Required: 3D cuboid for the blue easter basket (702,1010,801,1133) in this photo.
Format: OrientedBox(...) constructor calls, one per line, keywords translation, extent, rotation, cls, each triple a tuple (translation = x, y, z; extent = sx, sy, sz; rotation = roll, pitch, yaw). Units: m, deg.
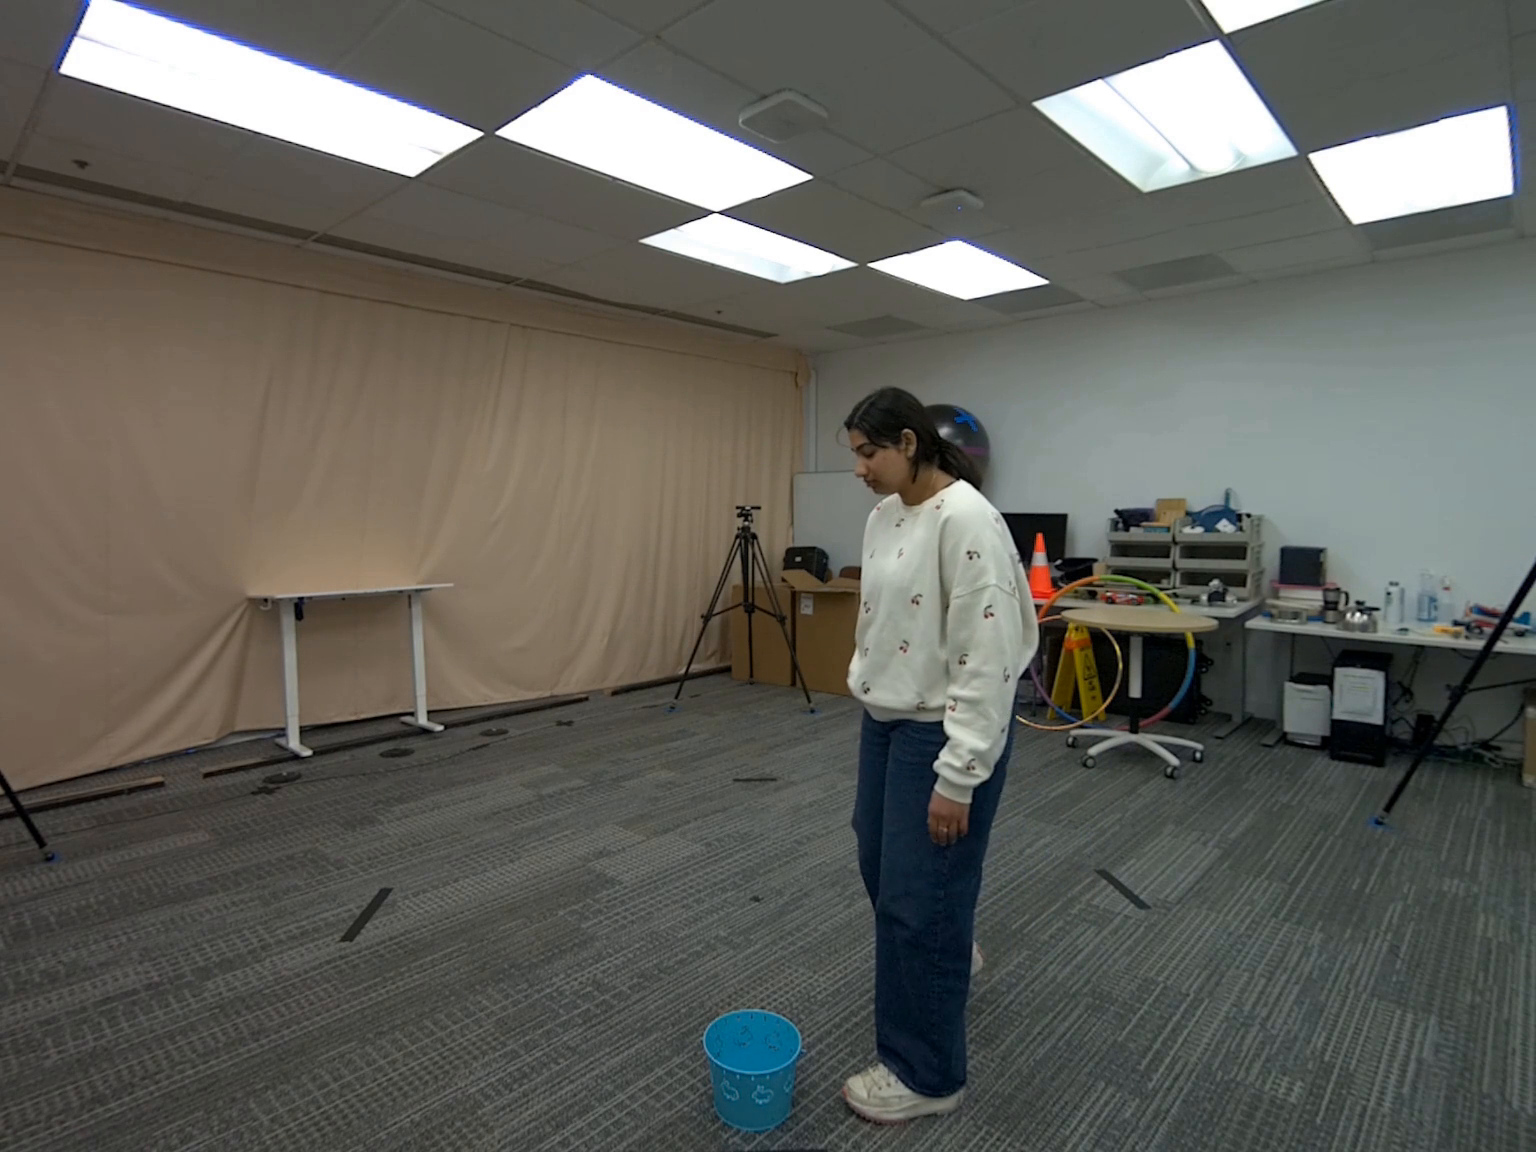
OrientedBox(translation=(-0.038, 1.157, 1.964), extent=(0.243, 0.155, 0.244), rotation=(0, 4, -2), cls="blue easter basket")
